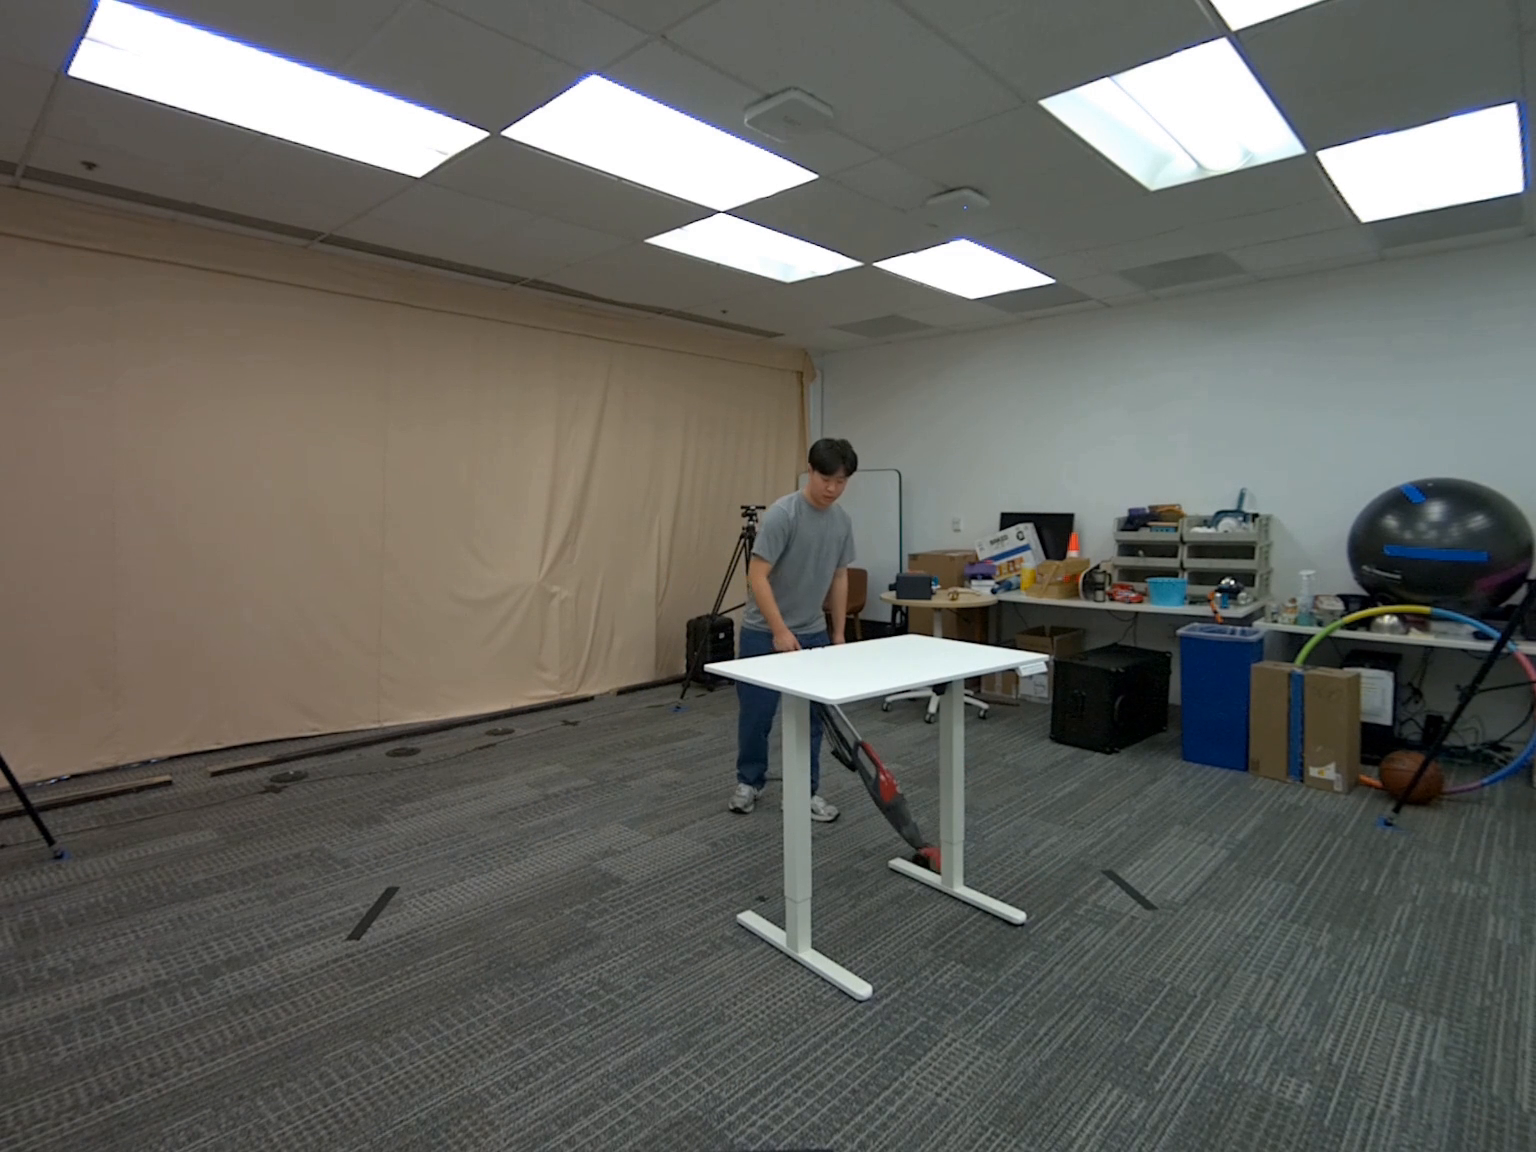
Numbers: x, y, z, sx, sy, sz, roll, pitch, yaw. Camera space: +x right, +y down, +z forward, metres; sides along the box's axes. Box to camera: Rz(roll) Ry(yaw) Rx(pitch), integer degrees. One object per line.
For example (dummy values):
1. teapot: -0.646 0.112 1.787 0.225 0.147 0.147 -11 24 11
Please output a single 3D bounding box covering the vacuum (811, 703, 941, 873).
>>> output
1. vacuum: 0.374 0.703 3.424 0.145 1.069 0.246 -44 -18 23
